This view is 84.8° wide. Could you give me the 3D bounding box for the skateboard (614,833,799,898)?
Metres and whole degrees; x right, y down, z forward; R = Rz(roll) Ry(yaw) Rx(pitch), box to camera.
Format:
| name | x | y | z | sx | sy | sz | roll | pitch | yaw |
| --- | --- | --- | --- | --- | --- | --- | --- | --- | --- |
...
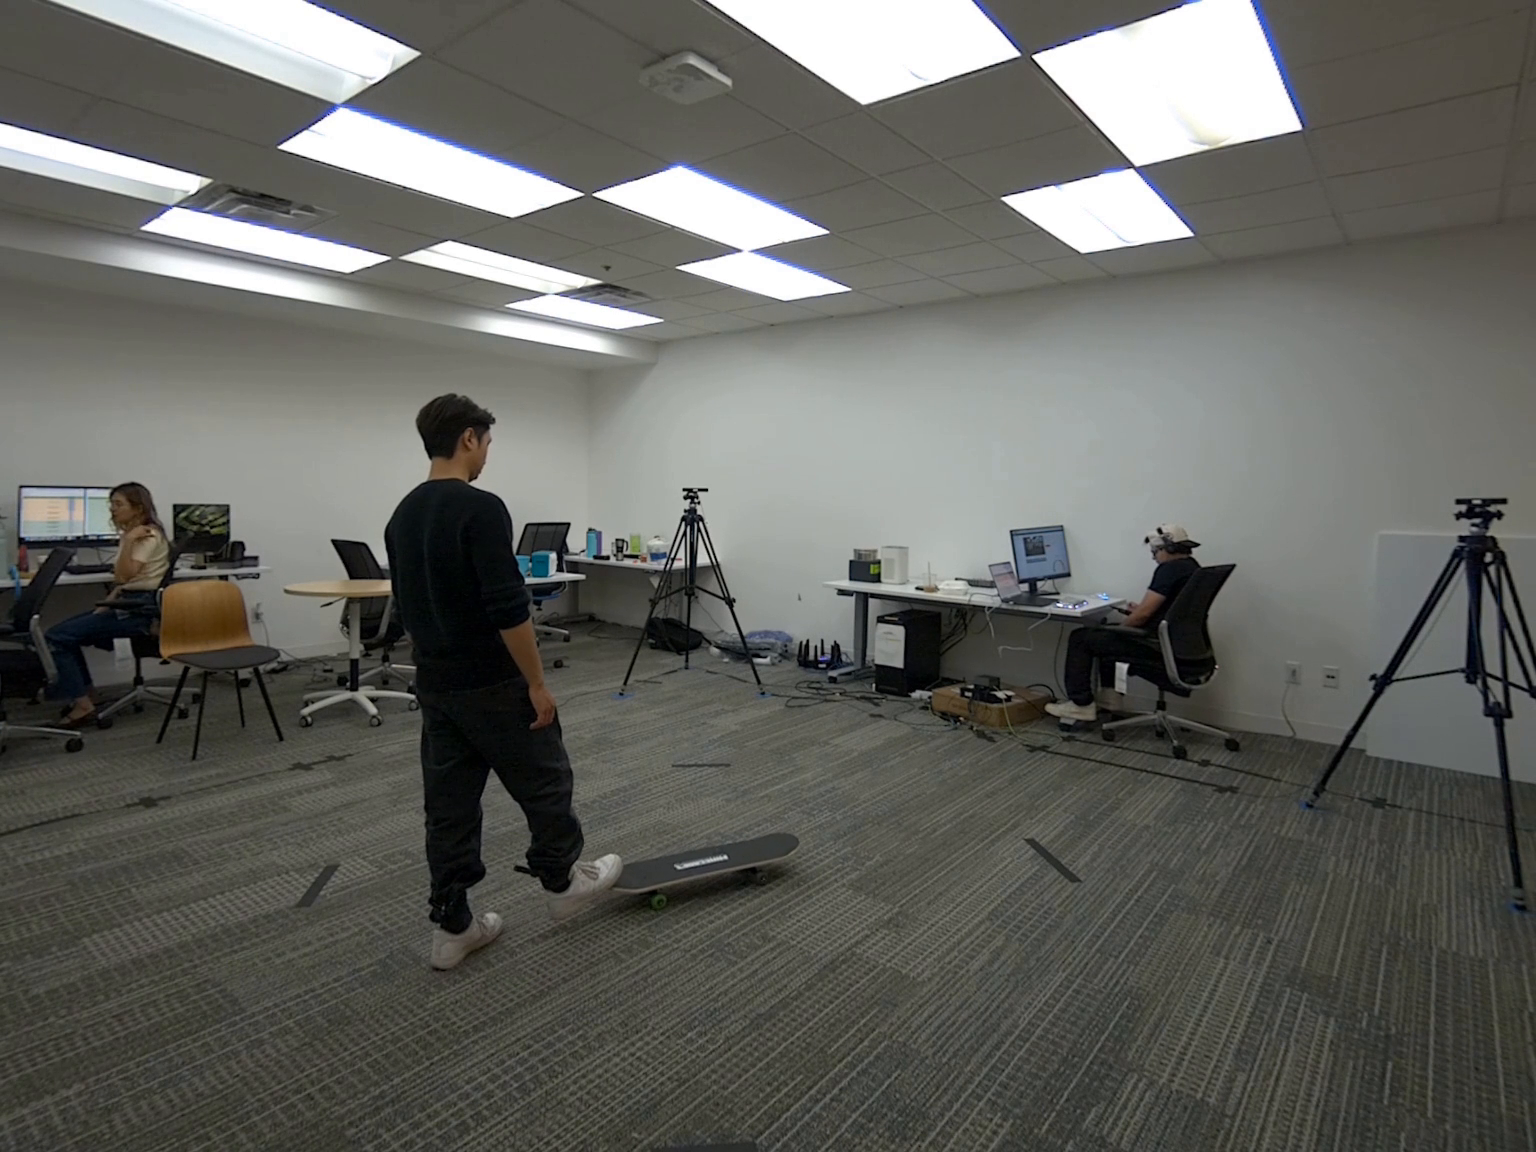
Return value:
| name | x | y | z | sx | sy | sz | roll | pitch | yaw |
| --- | --- | --- | --- | --- | --- | --- | --- | --- | --- |
| skateboard | -0.237 | 1.029 | 2.971 | 0.765 | 0.110 | 0.199 | -2 | 6 | -29 |
